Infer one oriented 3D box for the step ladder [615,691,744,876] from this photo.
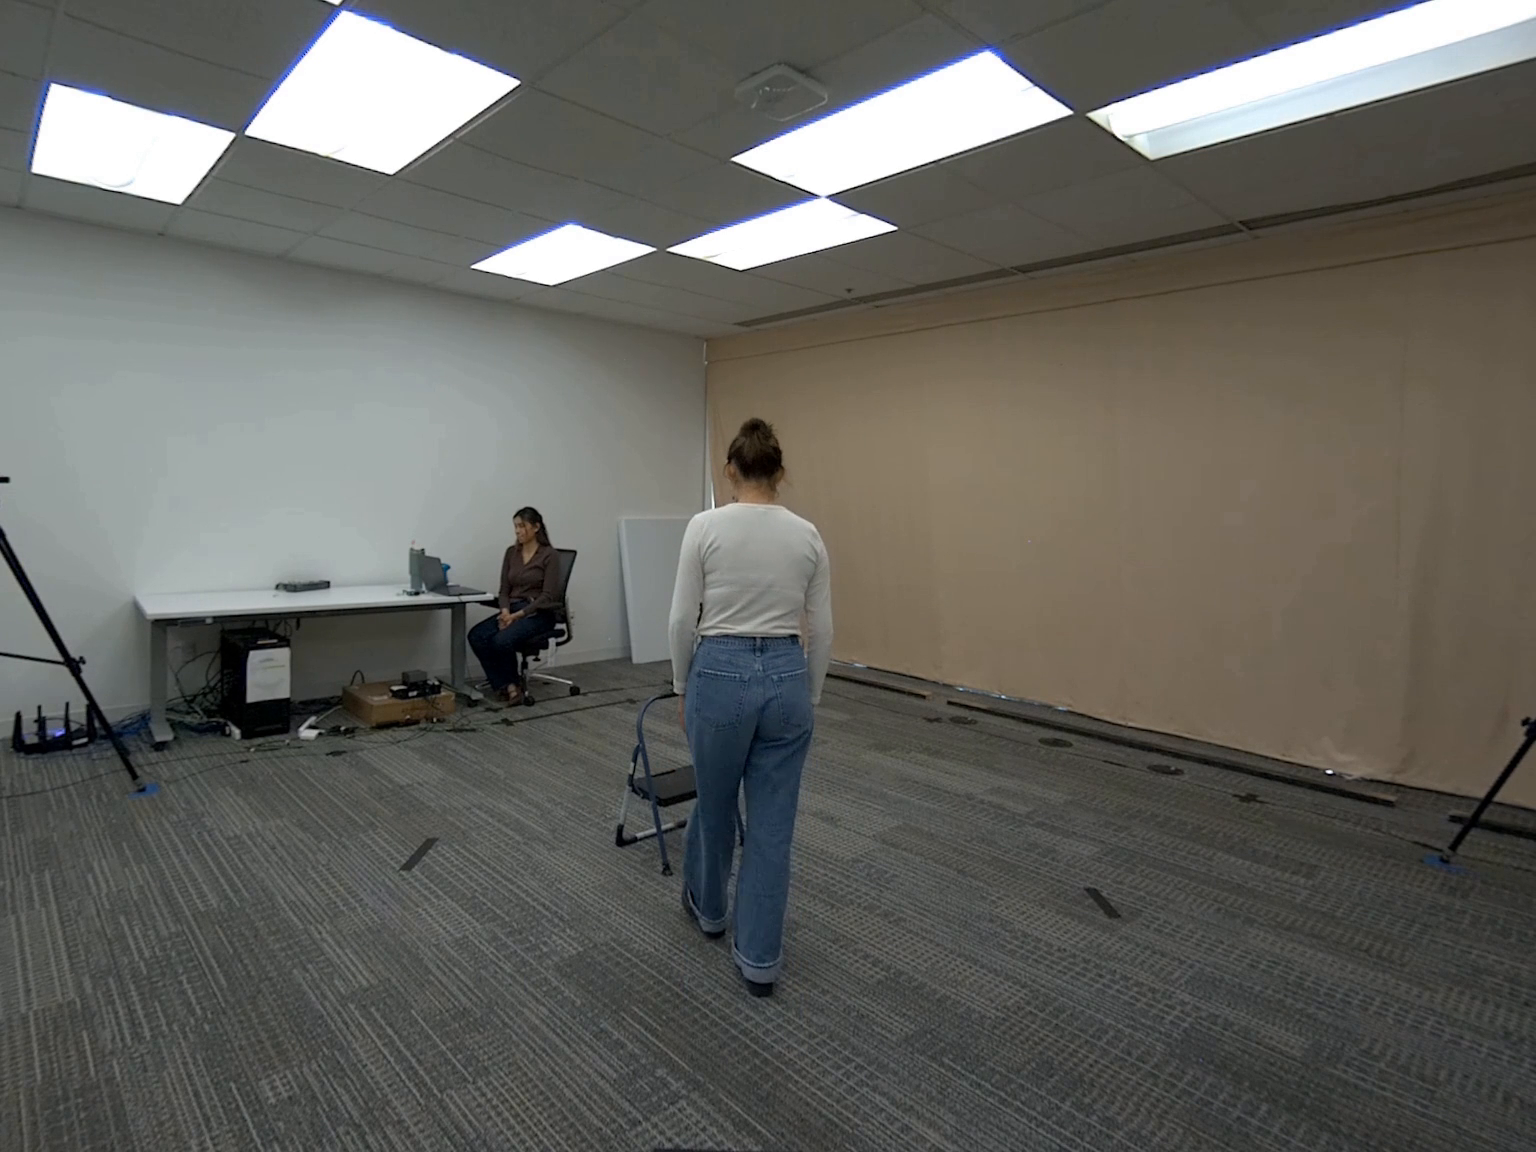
[{"bbox_3d":[-0.341,0.775,3.336,0.358,0.605,0.420,5,4,45],"label":"step ladder"}]
